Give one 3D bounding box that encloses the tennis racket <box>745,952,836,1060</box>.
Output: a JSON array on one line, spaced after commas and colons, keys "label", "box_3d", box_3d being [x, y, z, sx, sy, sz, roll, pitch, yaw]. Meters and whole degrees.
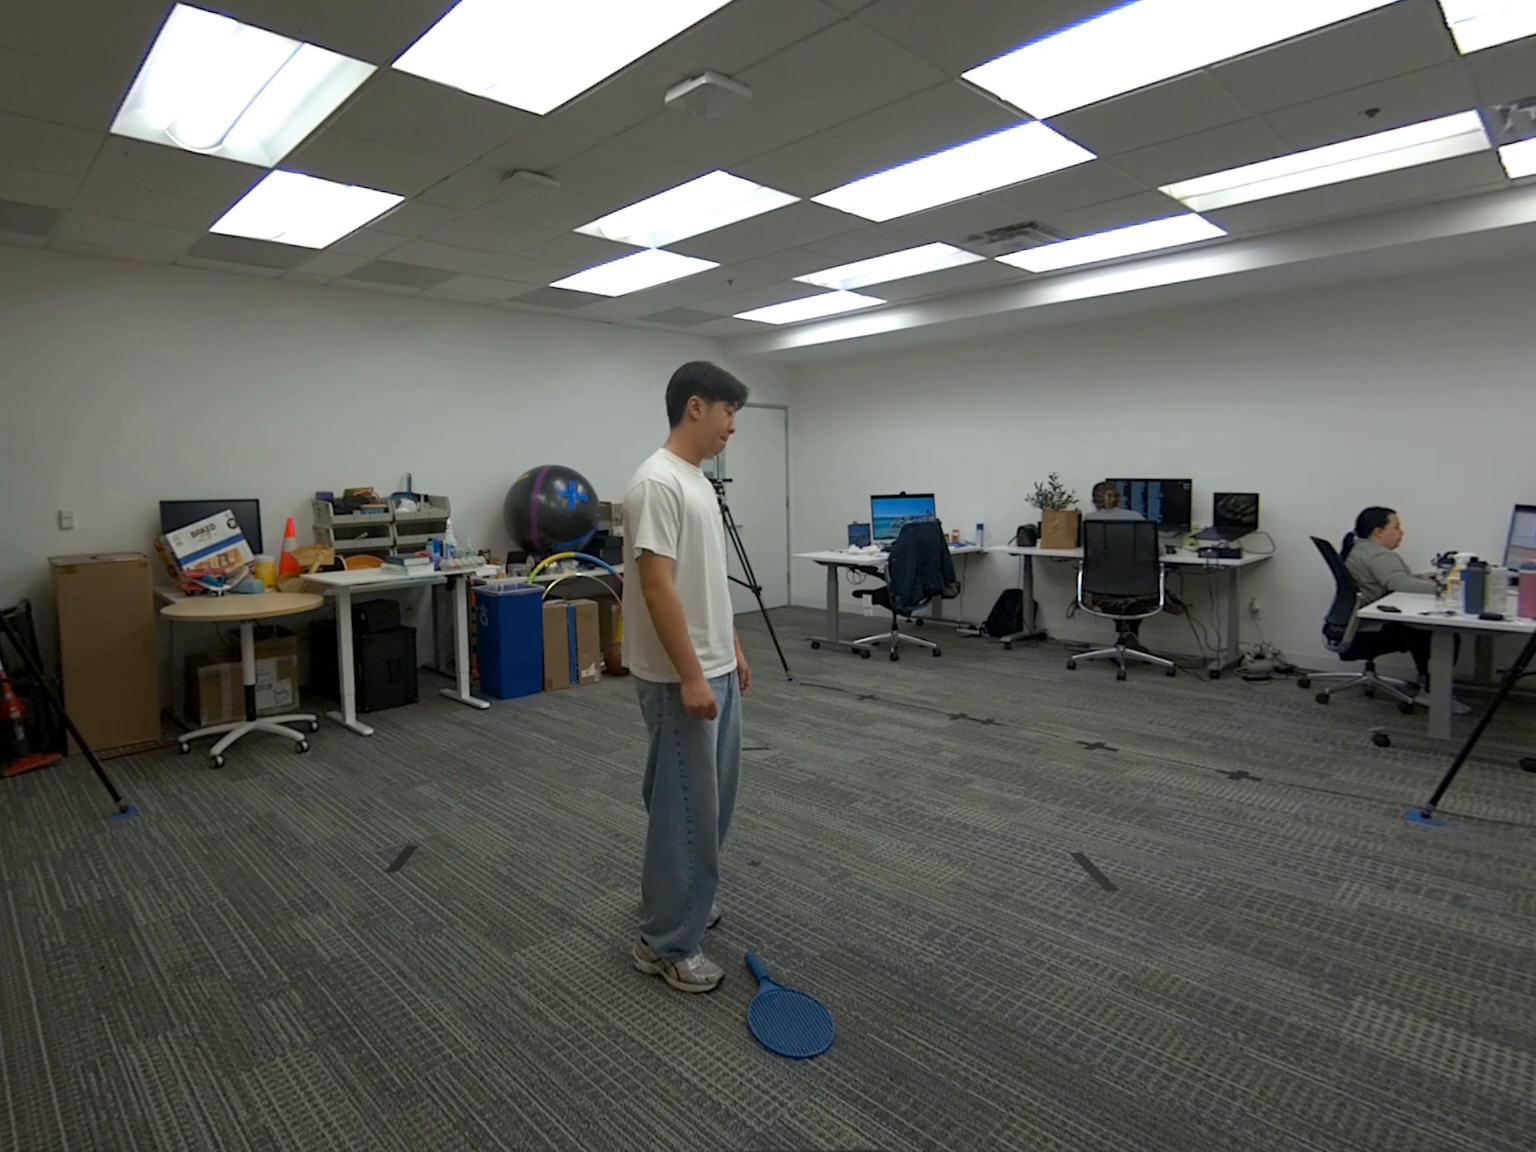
[{"label": "tennis racket", "box_3d": [0.032, 1.127, 2.263, 0.210, 0.031, 0.443, -3, 9, -19]}]
